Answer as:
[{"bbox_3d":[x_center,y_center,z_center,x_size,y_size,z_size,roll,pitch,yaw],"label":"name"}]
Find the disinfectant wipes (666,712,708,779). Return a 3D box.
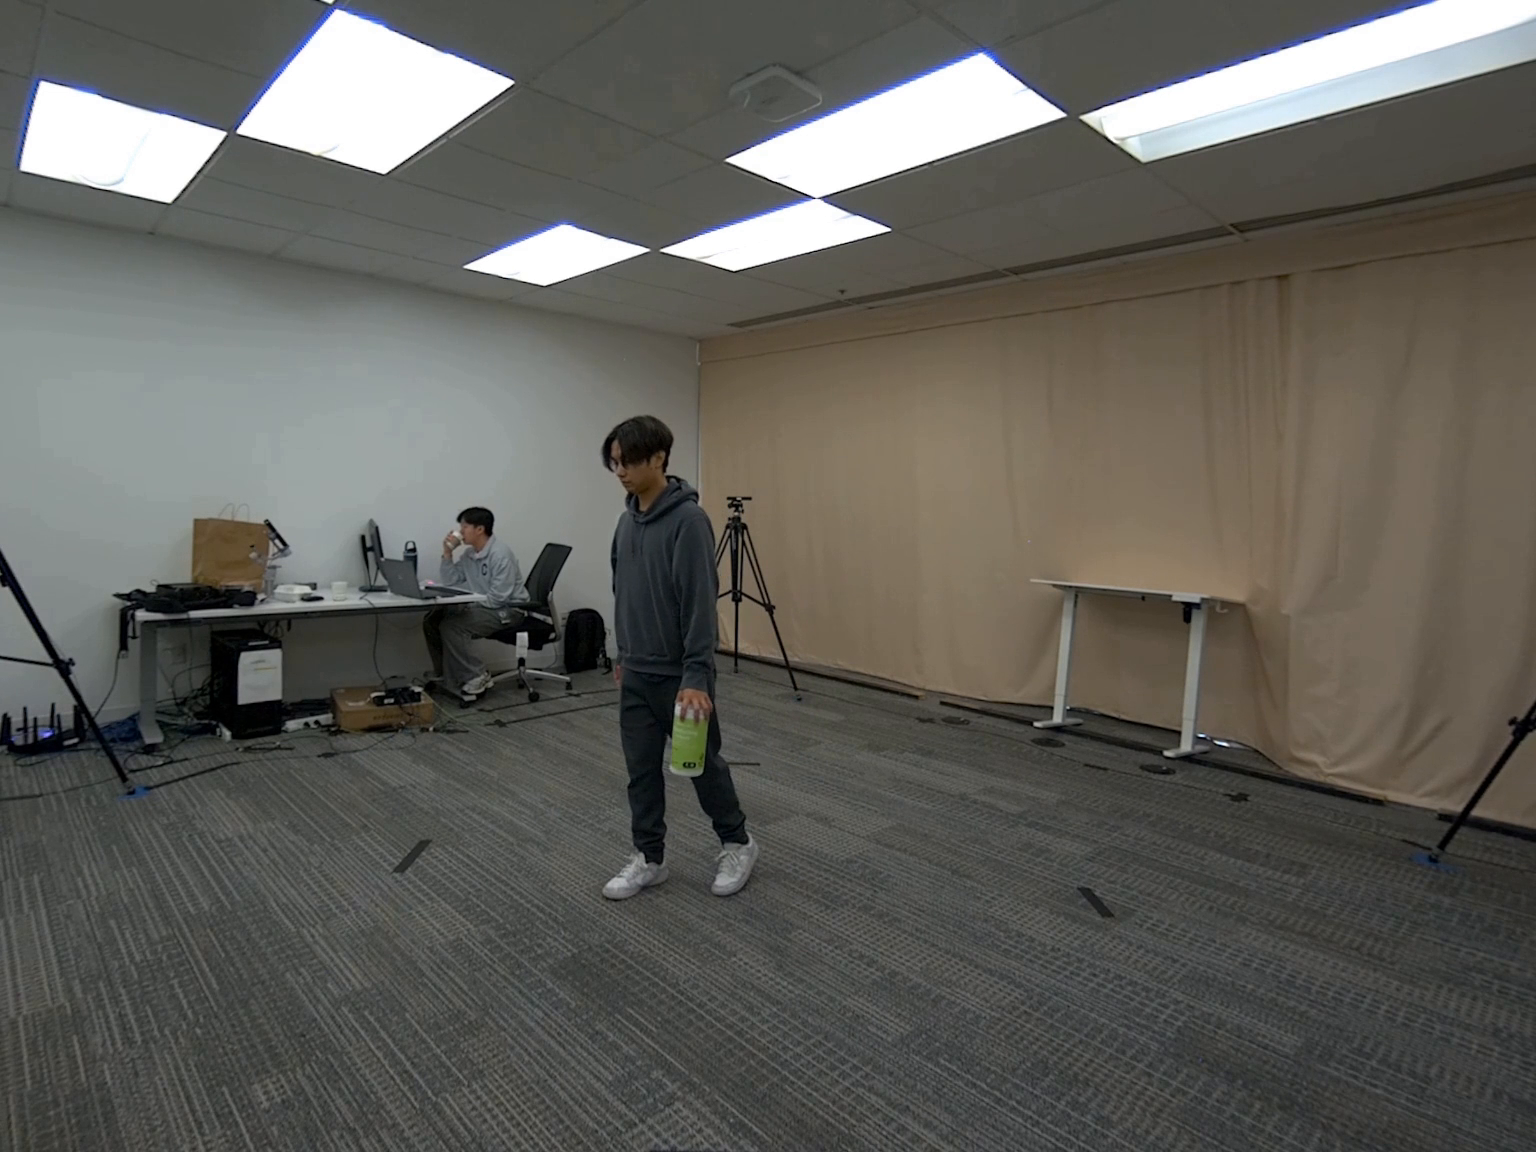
[{"bbox_3d":[-0.261,0.518,2.665,0.117,0.216,0.118,5,6,-2],"label":"disinfectant wipes"}]
